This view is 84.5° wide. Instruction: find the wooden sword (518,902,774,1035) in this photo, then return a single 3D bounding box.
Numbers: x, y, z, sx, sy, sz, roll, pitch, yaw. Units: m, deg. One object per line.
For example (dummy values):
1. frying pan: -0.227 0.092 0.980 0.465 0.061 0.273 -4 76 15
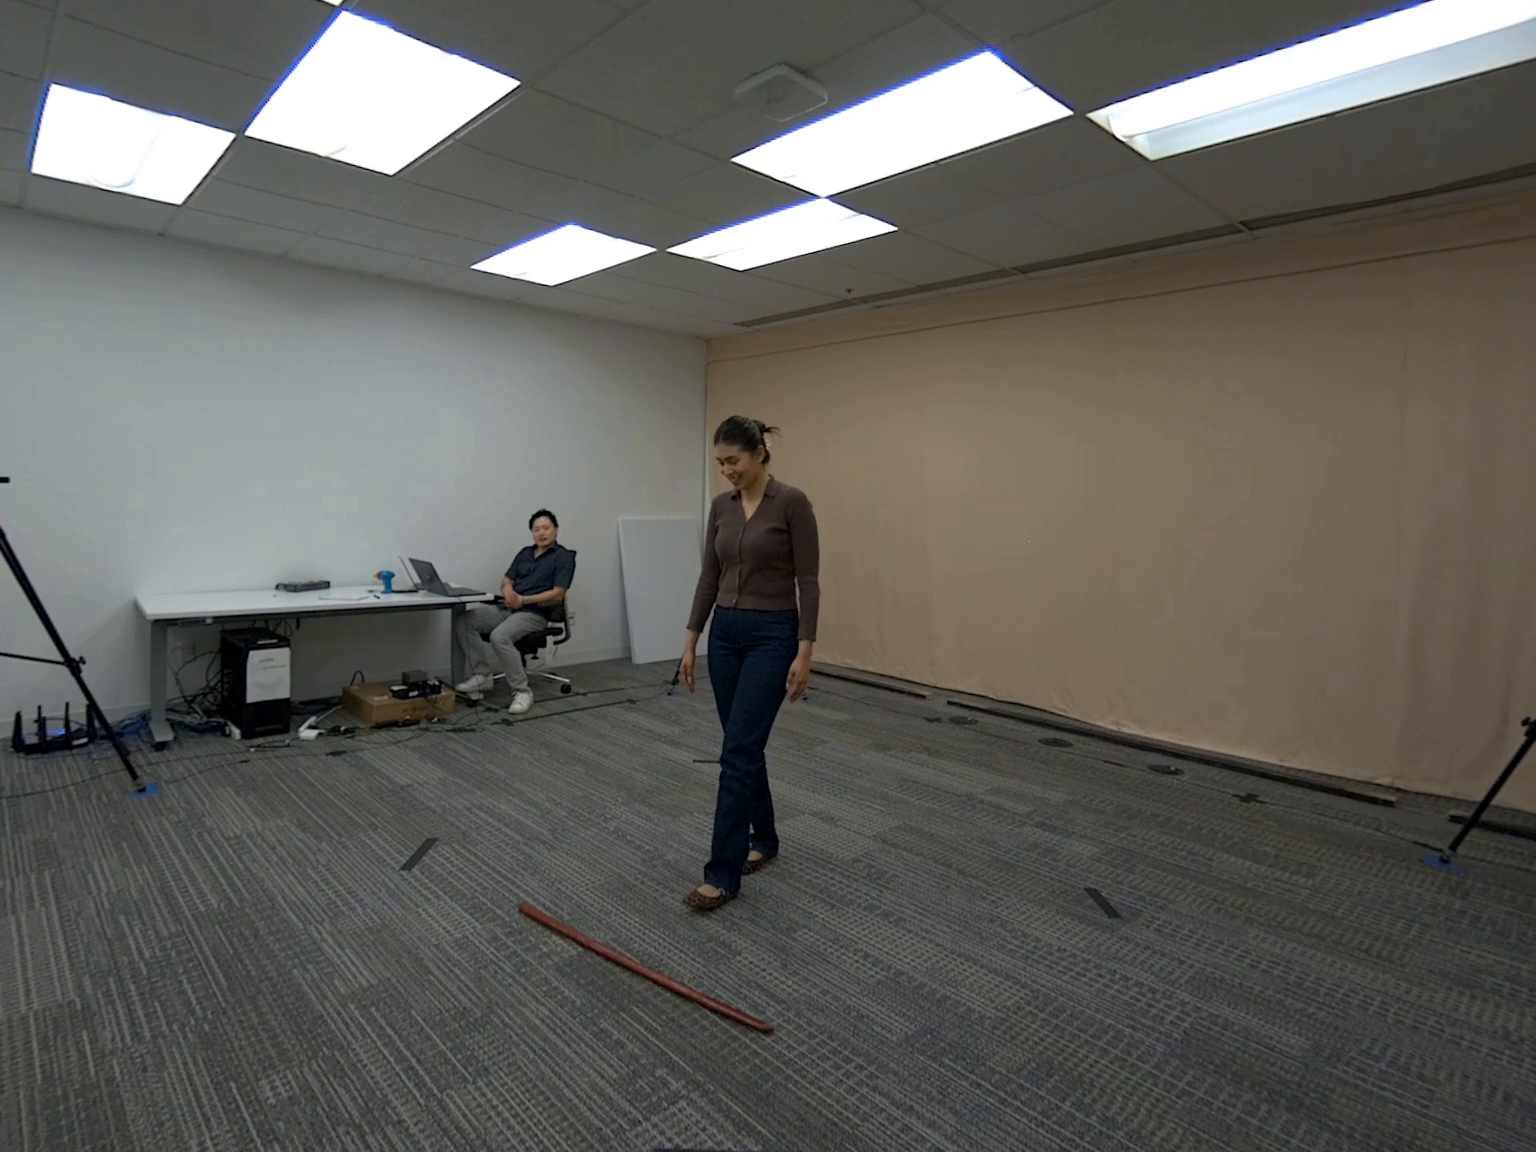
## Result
1. wooden sword: -0.420 1.131 2.504 1.050 0.024 0.050 6 12 37
